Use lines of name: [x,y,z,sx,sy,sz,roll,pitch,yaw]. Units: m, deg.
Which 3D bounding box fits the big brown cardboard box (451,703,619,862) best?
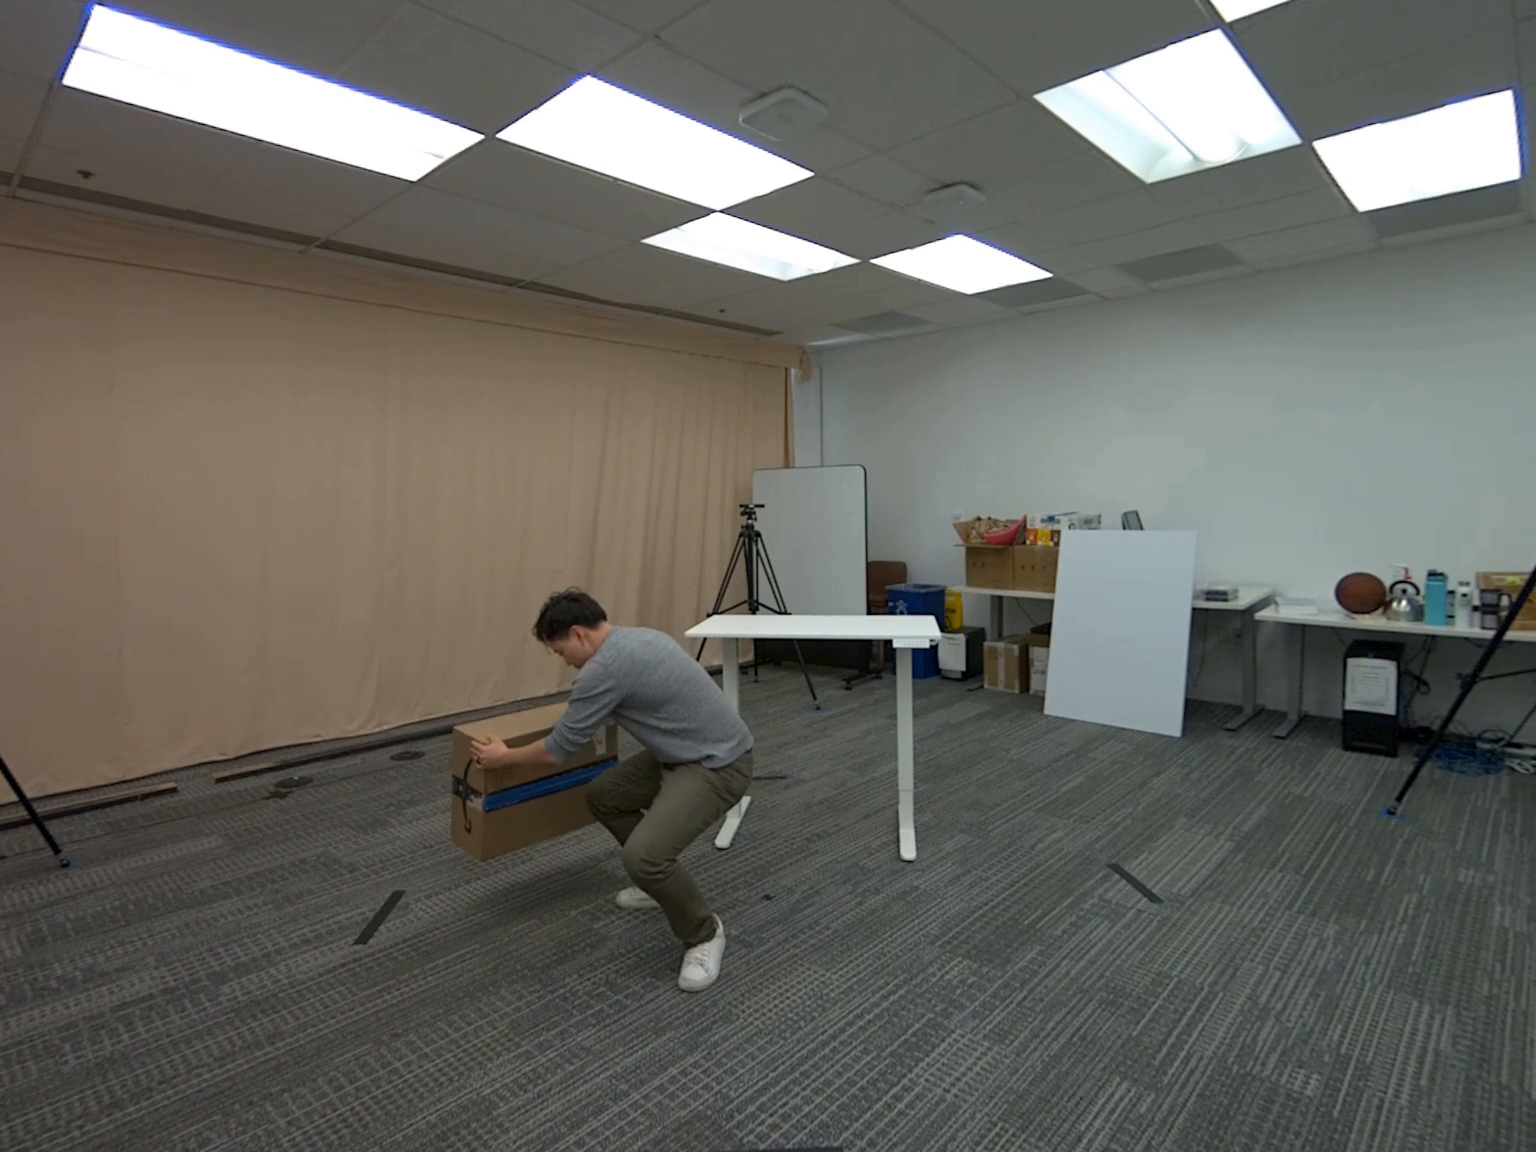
big brown cardboard box: [-0.826,0.714,3.067,0.241,0.415,0.571,10,11,44]
